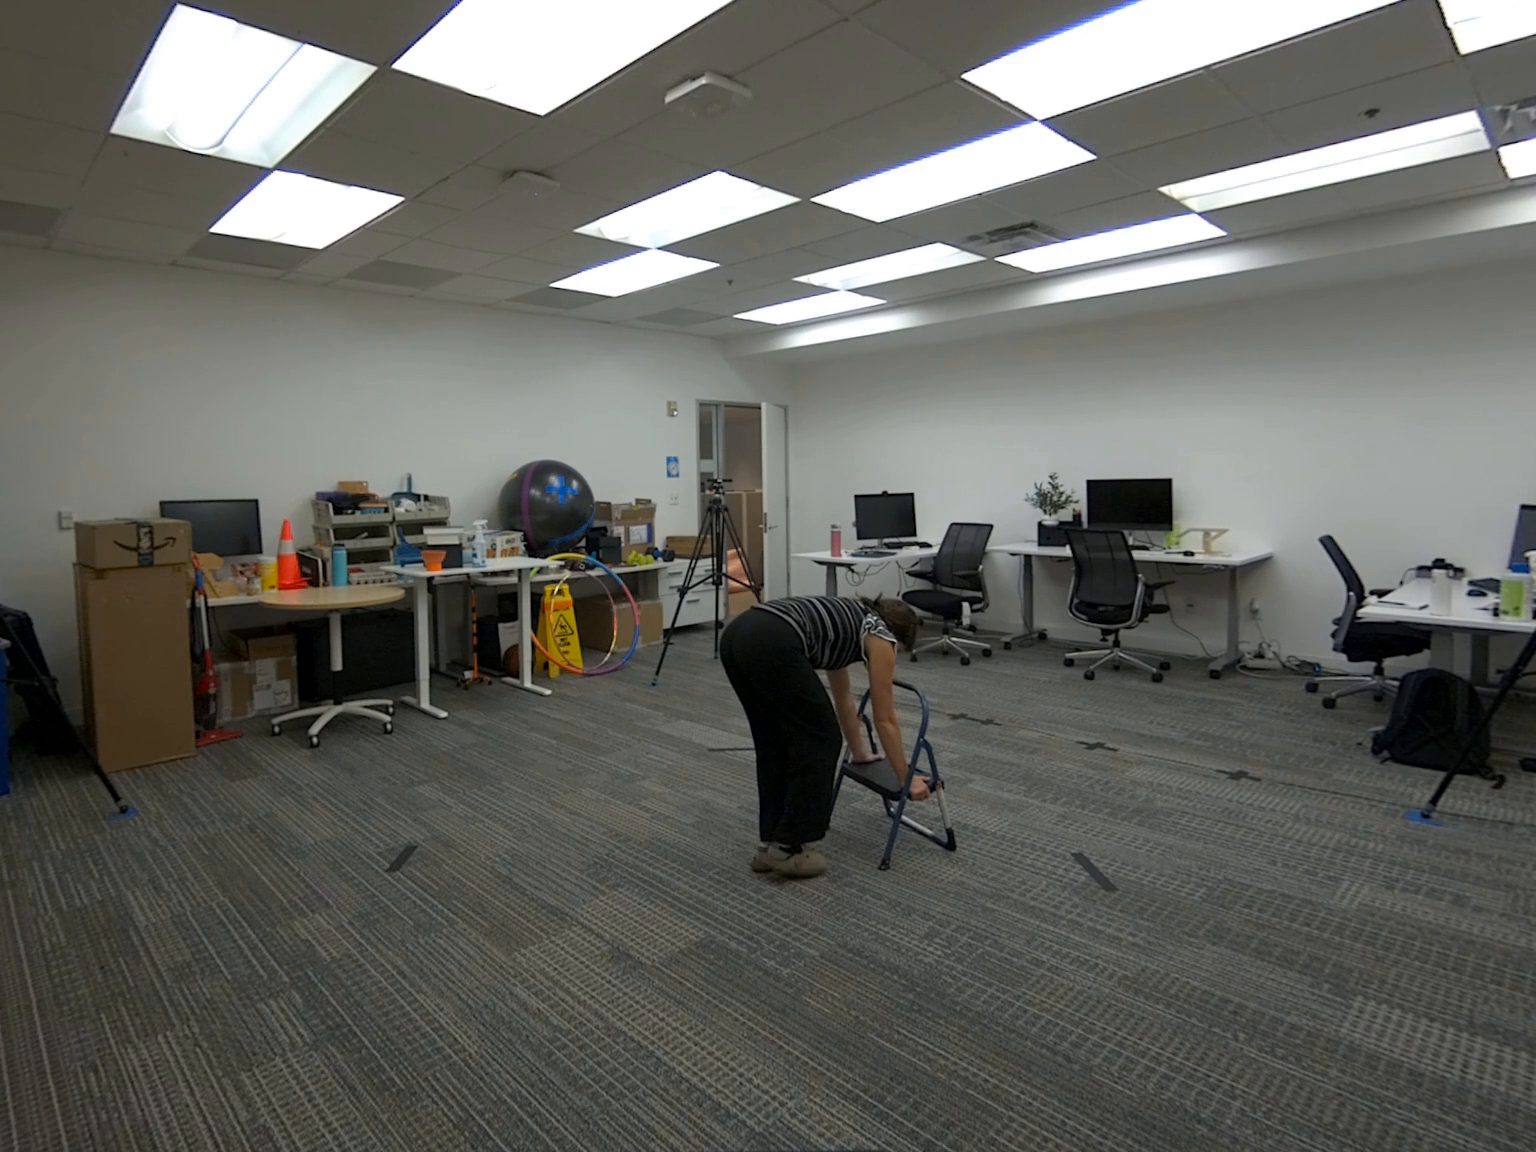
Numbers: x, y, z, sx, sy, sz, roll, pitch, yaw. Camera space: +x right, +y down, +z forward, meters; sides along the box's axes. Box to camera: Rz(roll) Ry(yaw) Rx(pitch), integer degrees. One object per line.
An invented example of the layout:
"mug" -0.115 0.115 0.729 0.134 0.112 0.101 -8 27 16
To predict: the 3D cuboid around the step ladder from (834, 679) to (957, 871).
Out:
"step ladder" 0.453 0.715 3.279 0.341 0.604 0.442 -3 4 -28
